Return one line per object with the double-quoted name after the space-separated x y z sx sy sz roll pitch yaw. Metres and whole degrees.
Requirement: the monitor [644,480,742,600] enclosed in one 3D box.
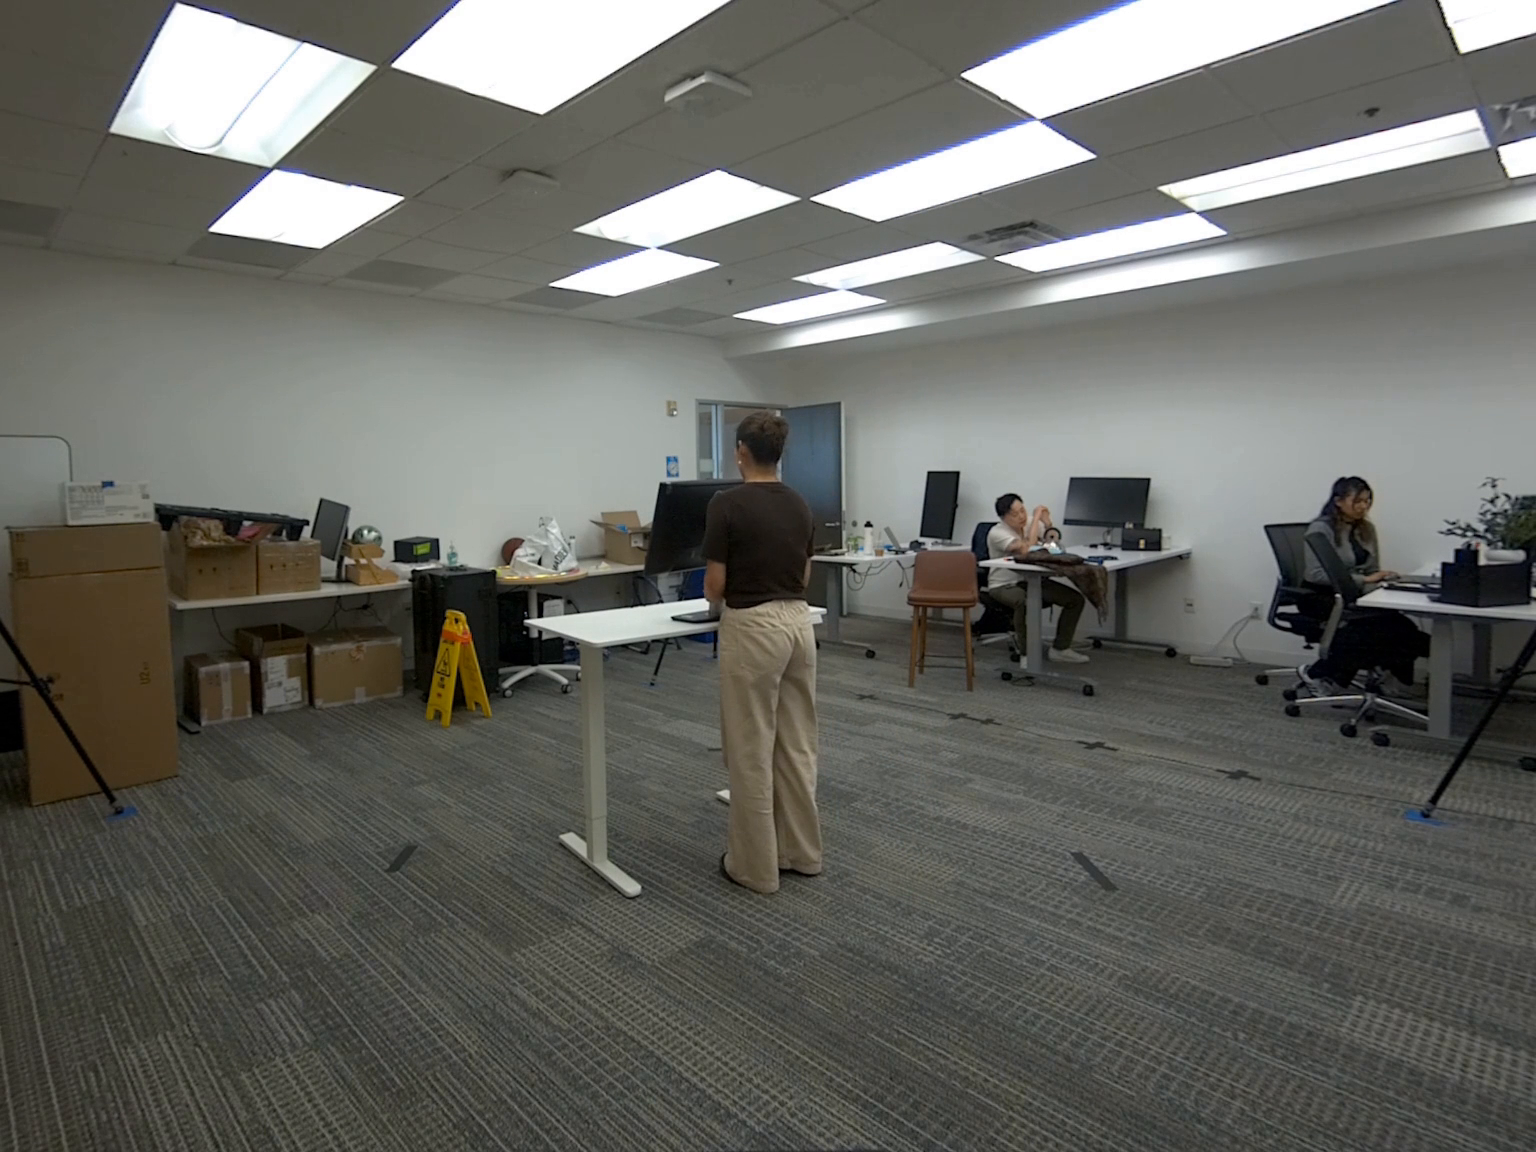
-0.208 -0.095 3.167 0.193 0.519 0.526 6 10 39 "monitor"
